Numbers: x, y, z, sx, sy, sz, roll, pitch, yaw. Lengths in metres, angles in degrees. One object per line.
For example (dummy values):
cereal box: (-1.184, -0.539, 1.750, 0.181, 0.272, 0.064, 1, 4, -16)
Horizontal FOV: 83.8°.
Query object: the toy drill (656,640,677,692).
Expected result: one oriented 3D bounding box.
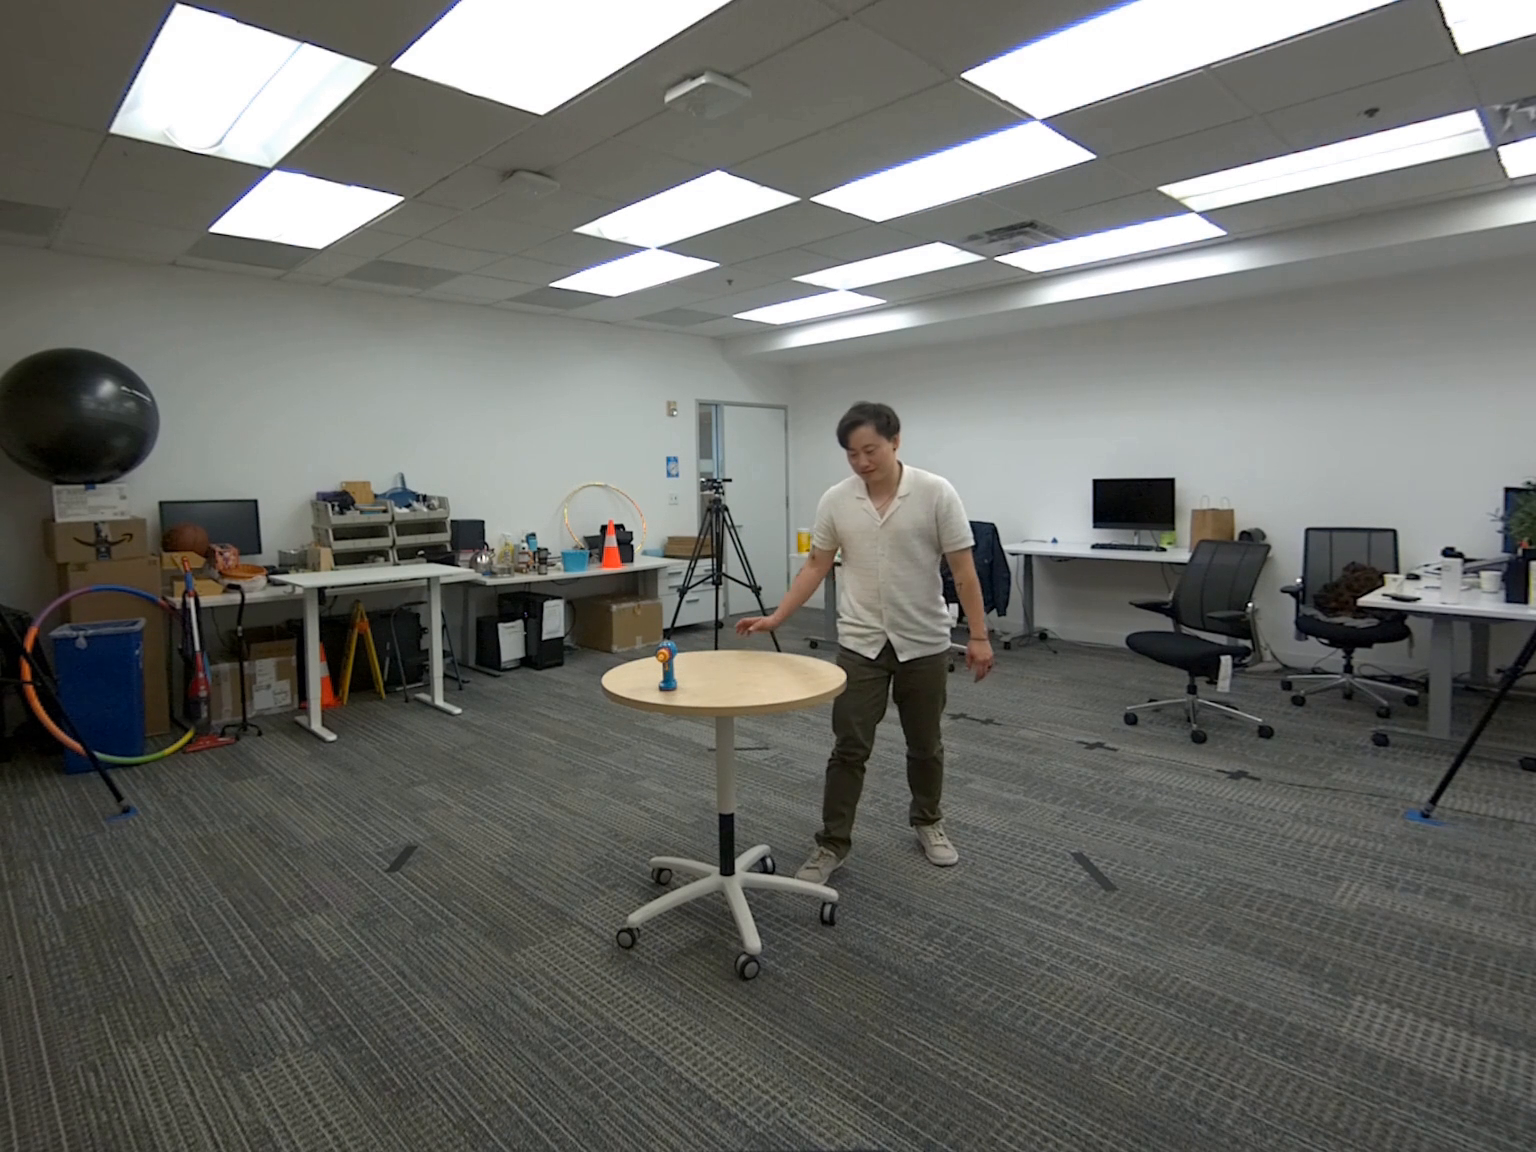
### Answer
toy drill: (-0.289, 0.262, 2.483, 0.061, 0.145, 0.170, 0, 5, 1)
